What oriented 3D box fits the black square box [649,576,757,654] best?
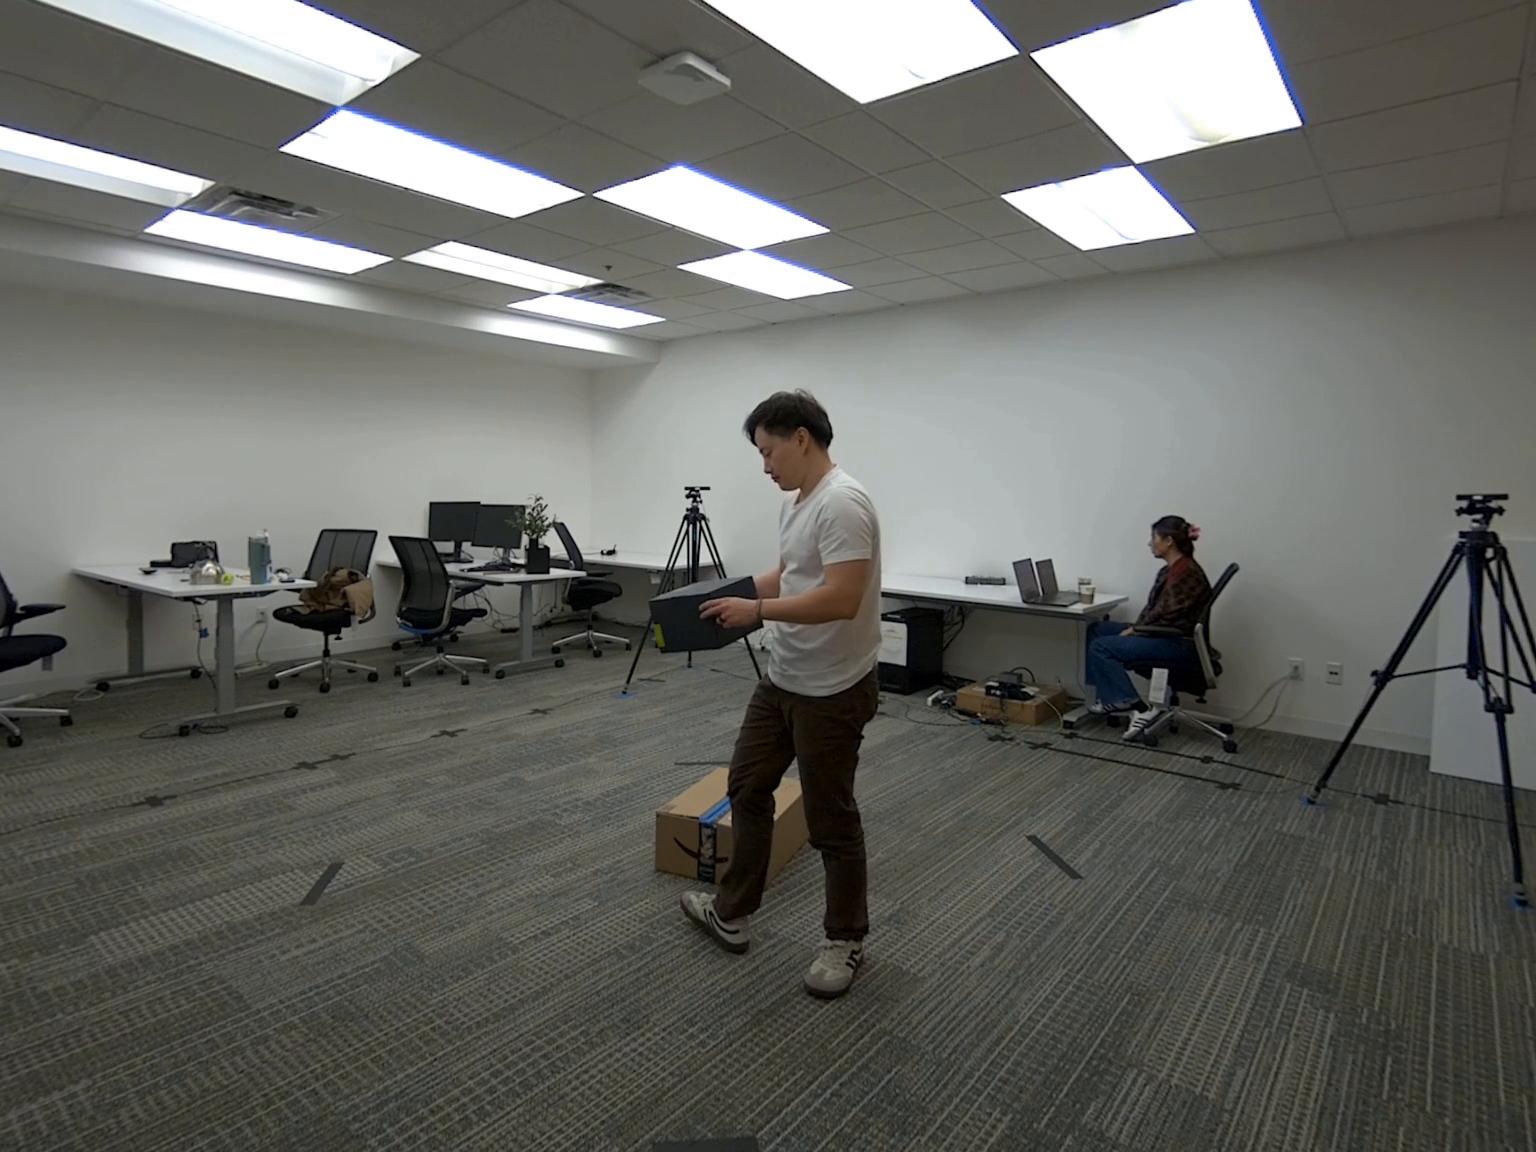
[{"bbox_3d":[-0.191,0.103,2.423,0.222,0.155,0.223,-9,7,34],"label":"black square box"}]
